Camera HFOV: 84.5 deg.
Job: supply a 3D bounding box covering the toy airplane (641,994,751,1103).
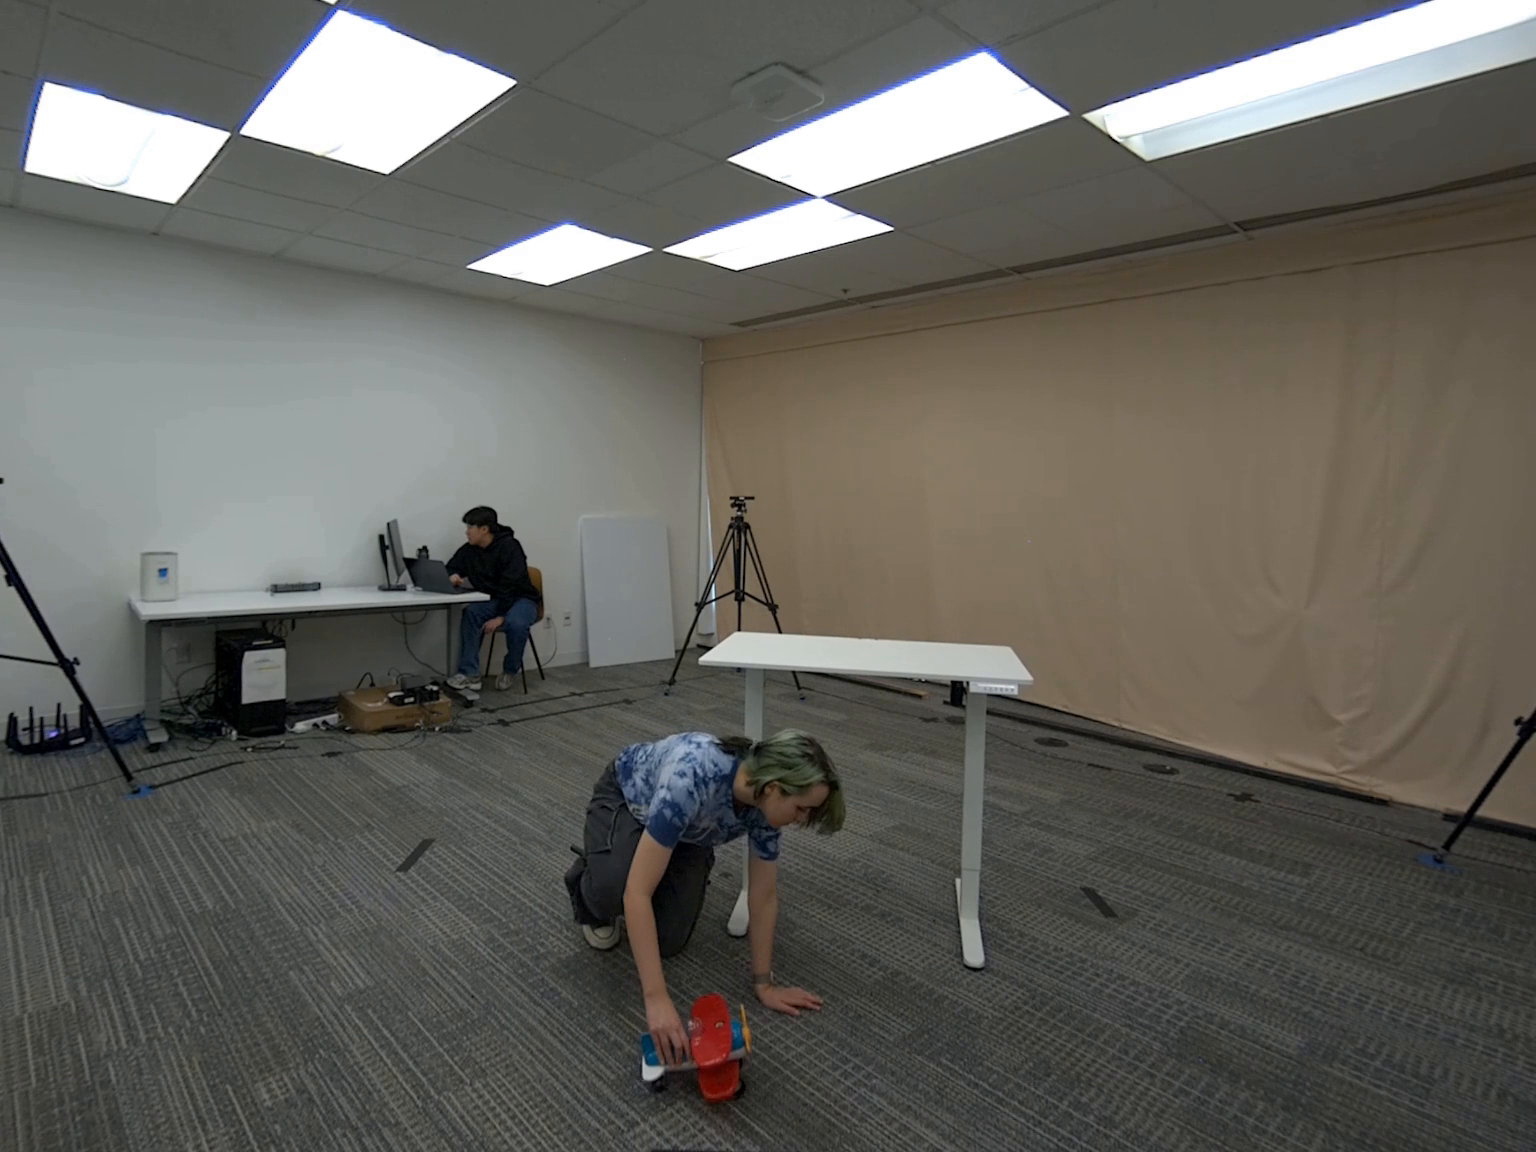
[{"bbox_3d":[-0.168,1.145,1.956,0.254,0.156,0.257,-1,7,-32],"label":"toy airplane"}]
